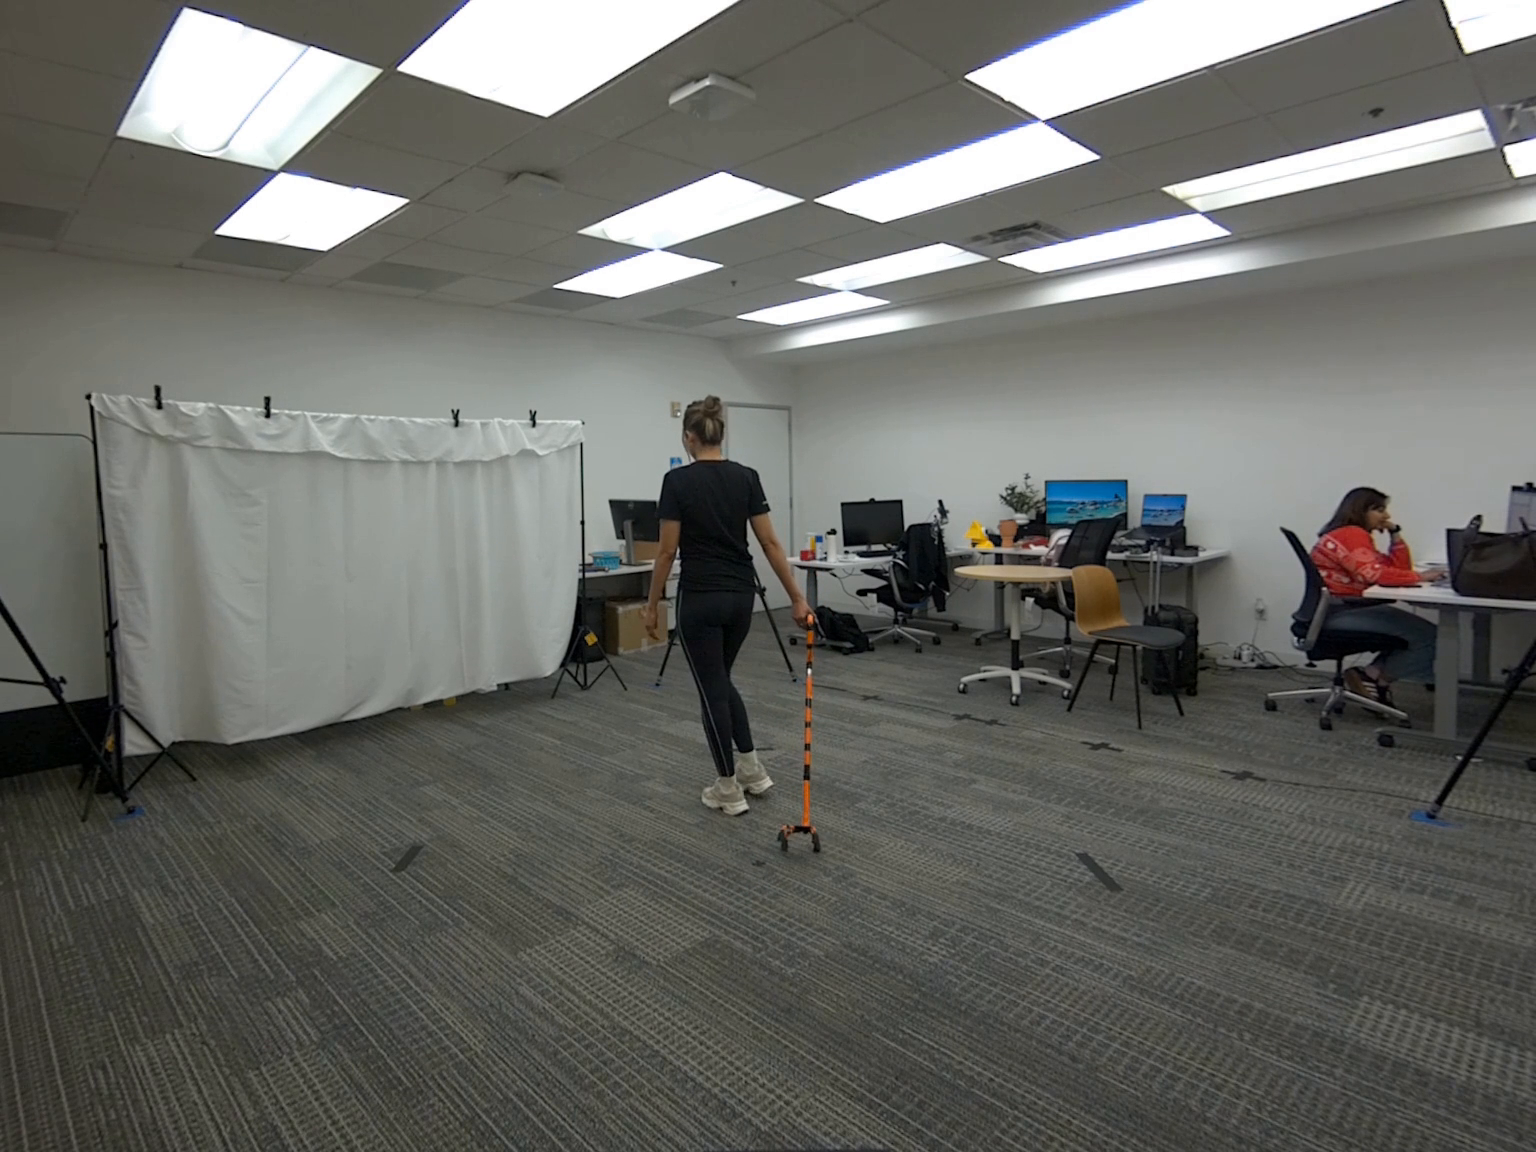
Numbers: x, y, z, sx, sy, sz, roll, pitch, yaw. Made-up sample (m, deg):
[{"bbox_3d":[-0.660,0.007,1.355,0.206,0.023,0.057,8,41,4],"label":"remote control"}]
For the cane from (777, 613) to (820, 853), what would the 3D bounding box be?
[{"bbox_3d":[0.143,0.580,3.338,0.153,0.926,0.200,0,-27,8],"label":"cane"}]
